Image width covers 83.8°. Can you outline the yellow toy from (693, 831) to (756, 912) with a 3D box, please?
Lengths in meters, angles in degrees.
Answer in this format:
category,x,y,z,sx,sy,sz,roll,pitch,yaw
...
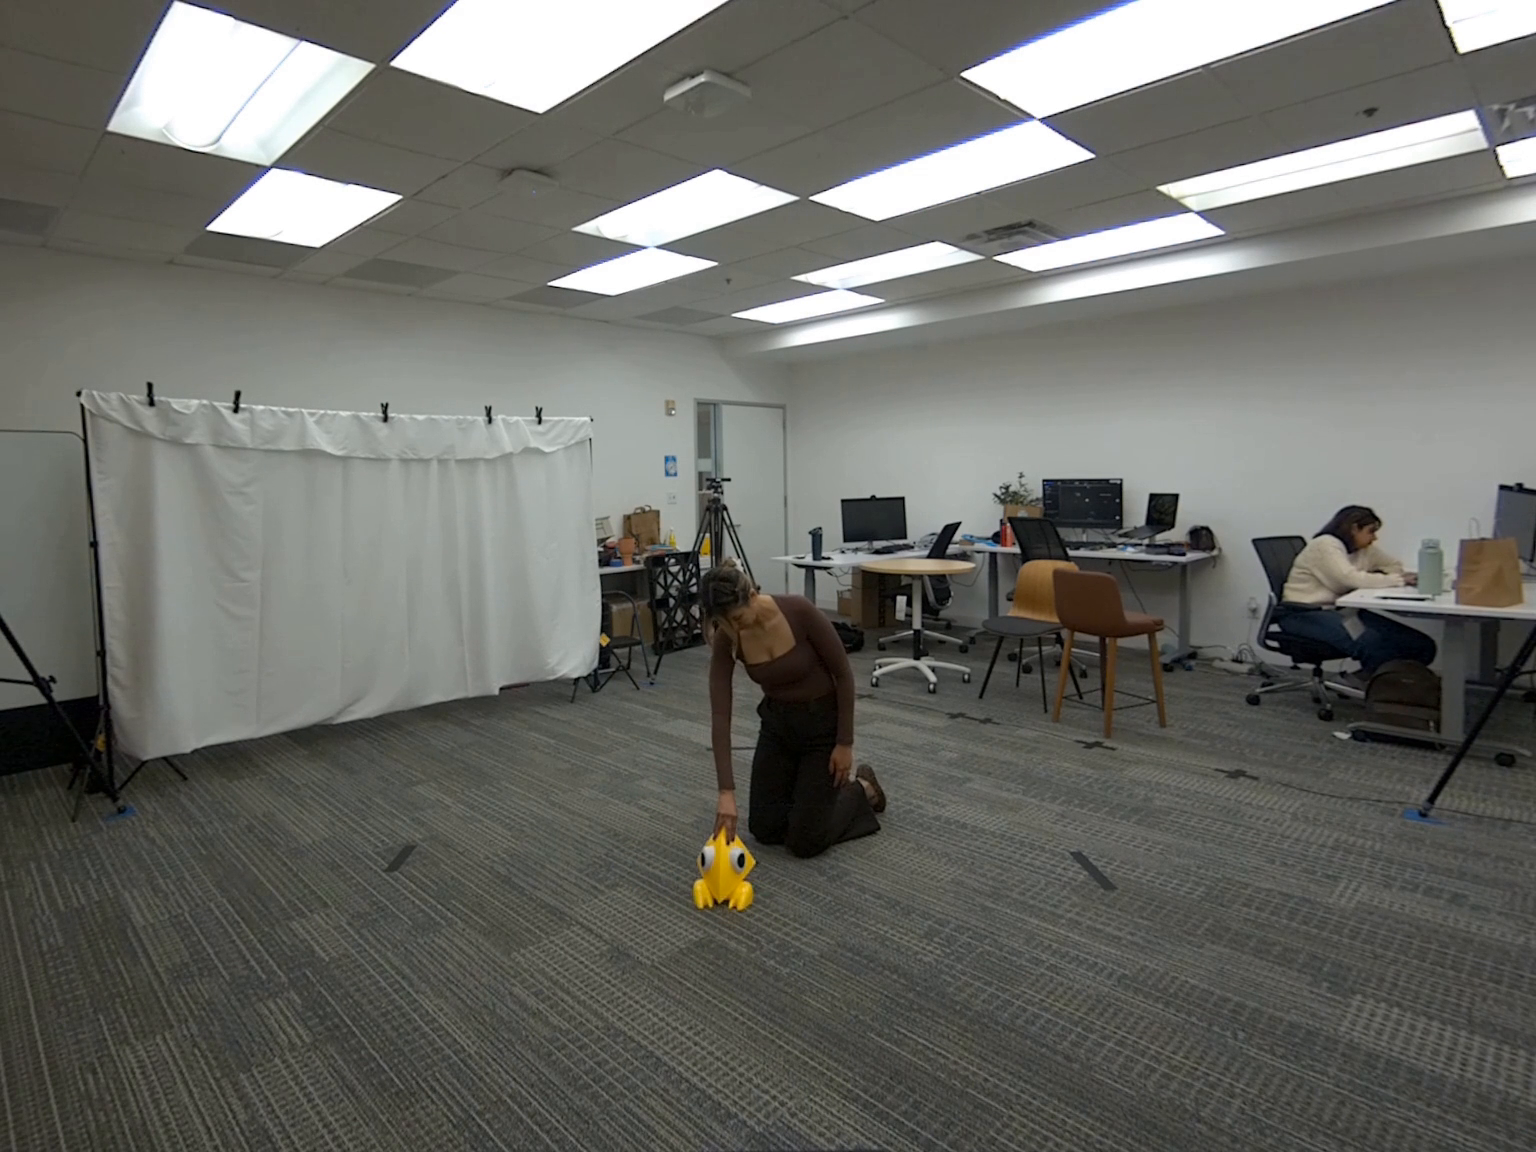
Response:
category,x,y,z,sx,sy,sz,roll,pitch,yaw
yellow toy,-0.145,0.958,2.851,0.206,0.230,0.192,0,3,7
